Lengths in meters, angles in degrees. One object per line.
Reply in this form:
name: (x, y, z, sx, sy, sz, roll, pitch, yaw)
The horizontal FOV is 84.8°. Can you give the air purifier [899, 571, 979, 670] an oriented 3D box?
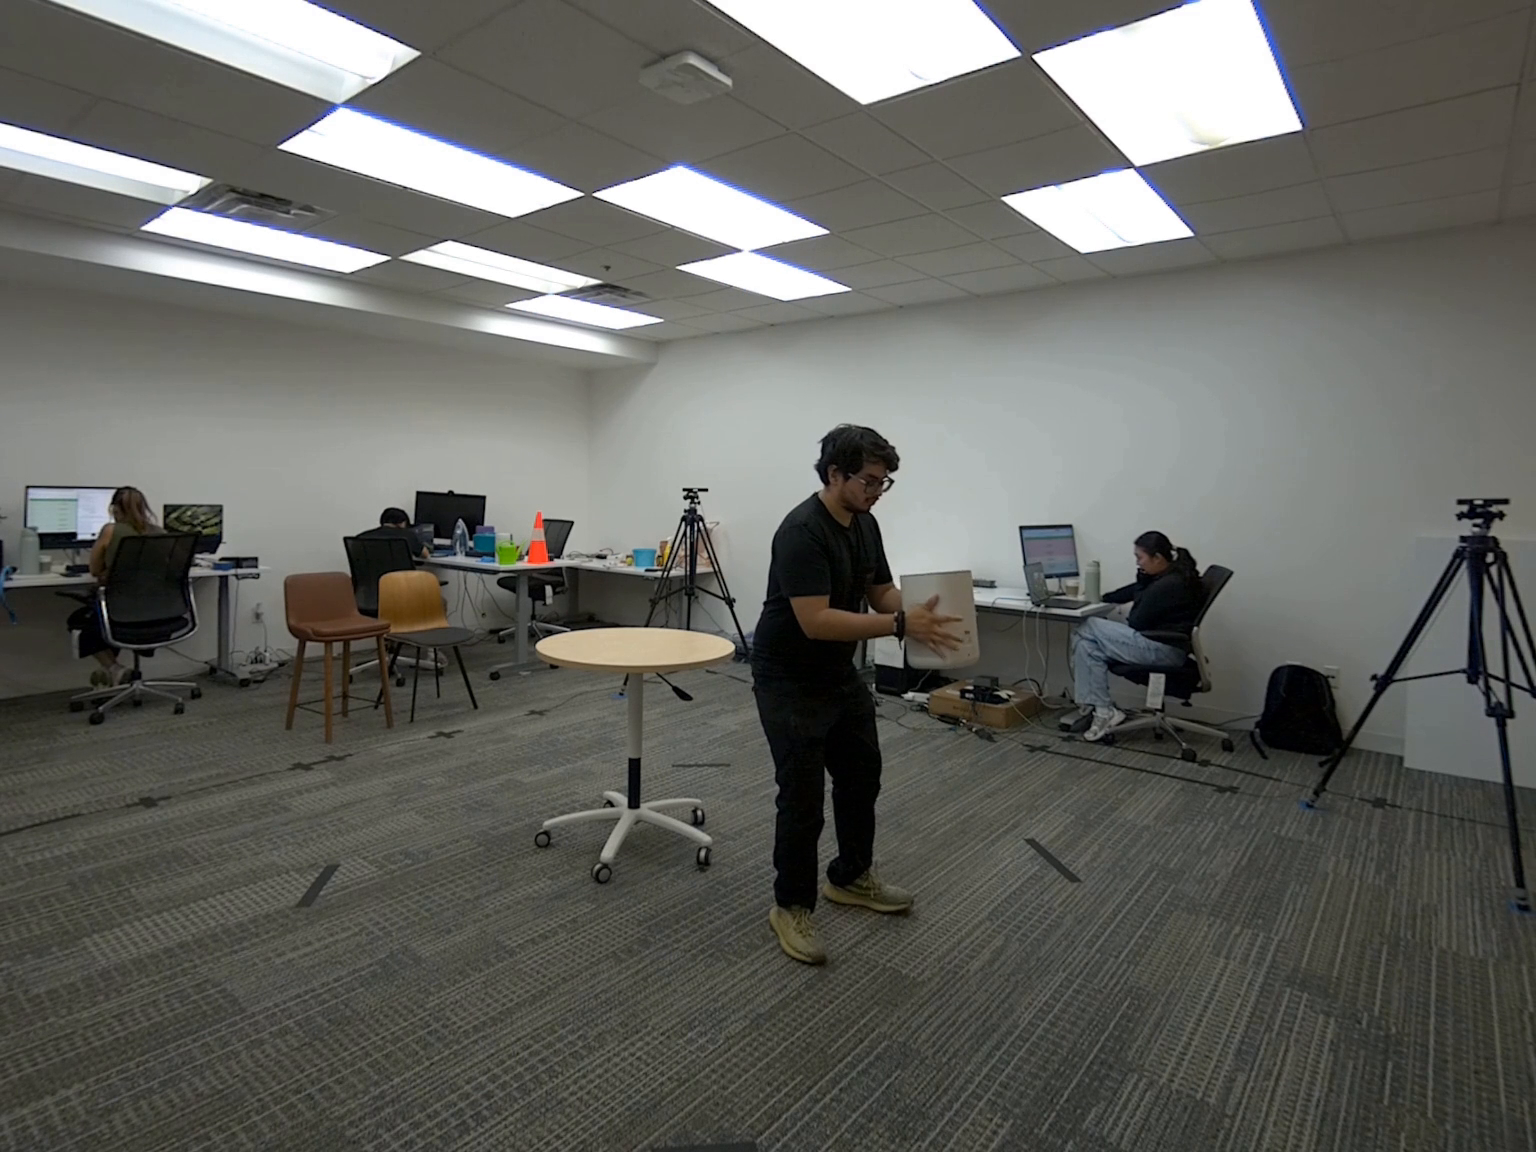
air purifier: (0.481, 0.127, 2.403, 0.166, 0.266, 0.176, 0, -5, -42)
